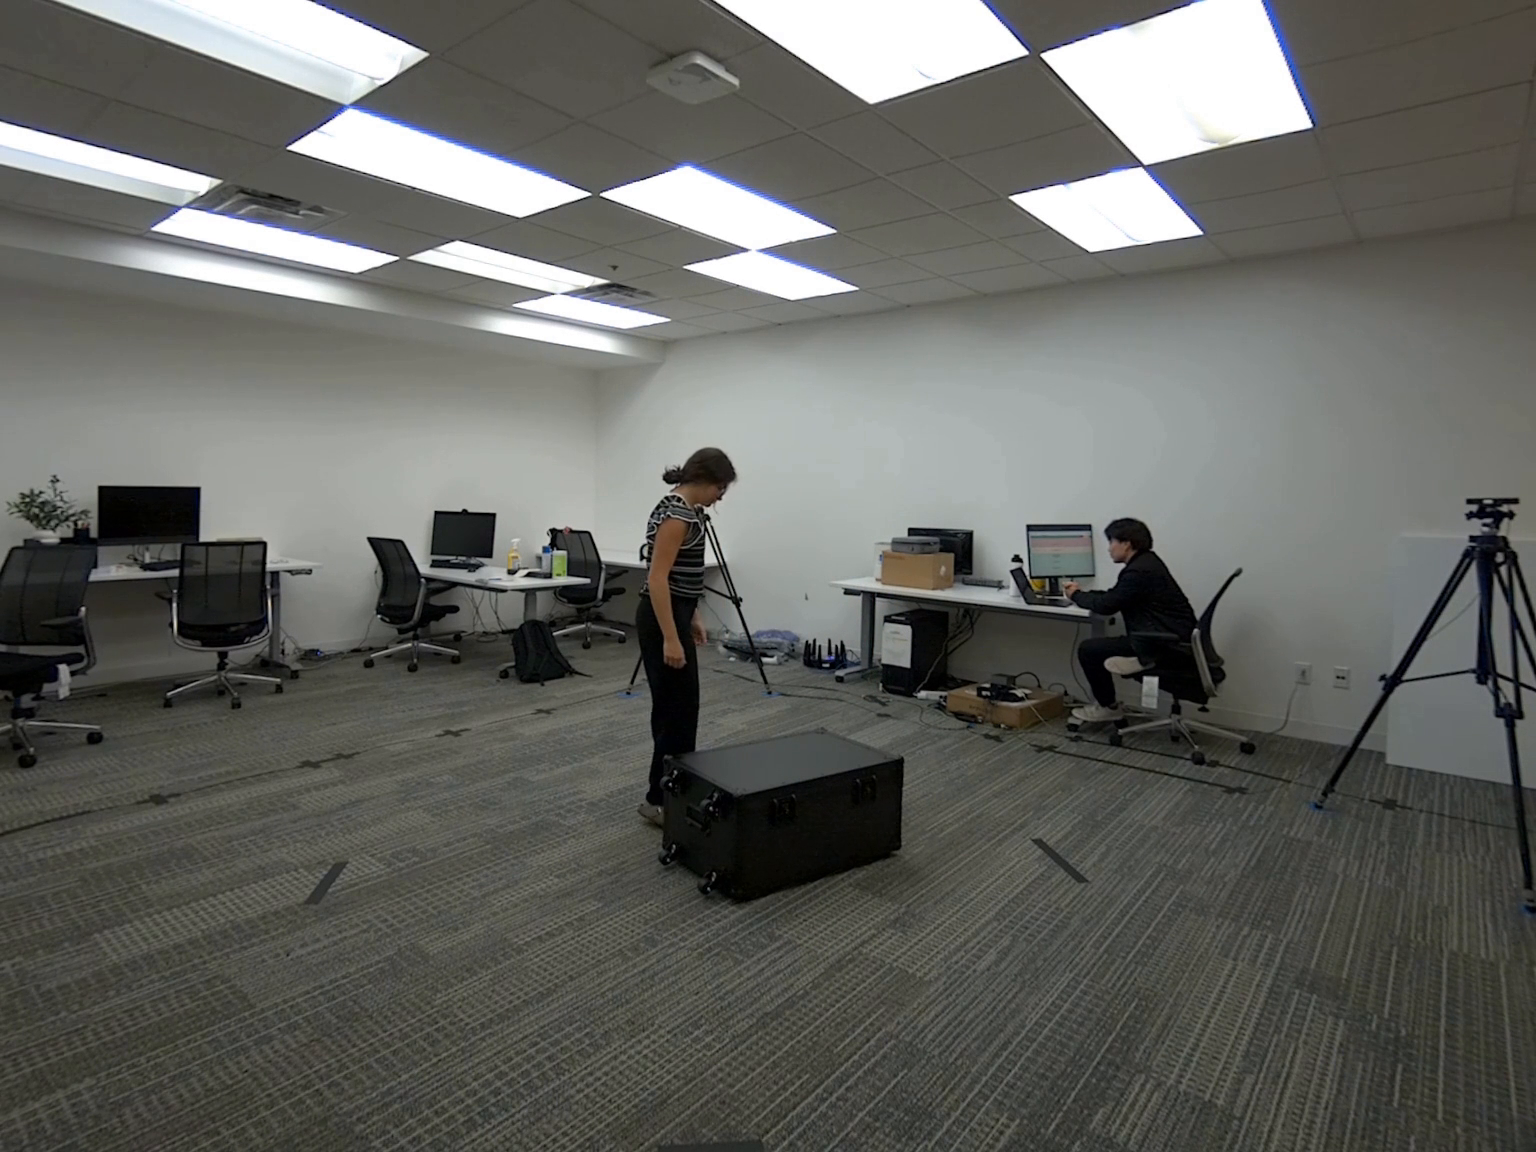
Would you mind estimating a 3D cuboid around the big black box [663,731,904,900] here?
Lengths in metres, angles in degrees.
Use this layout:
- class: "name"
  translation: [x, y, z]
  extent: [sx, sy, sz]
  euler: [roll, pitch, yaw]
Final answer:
- class: "big black box"
  translation: [0.025, 0.870, 3.212]
  extent: [0.836, 0.395, 0.538]
  euler: [-2, 5, -36]
